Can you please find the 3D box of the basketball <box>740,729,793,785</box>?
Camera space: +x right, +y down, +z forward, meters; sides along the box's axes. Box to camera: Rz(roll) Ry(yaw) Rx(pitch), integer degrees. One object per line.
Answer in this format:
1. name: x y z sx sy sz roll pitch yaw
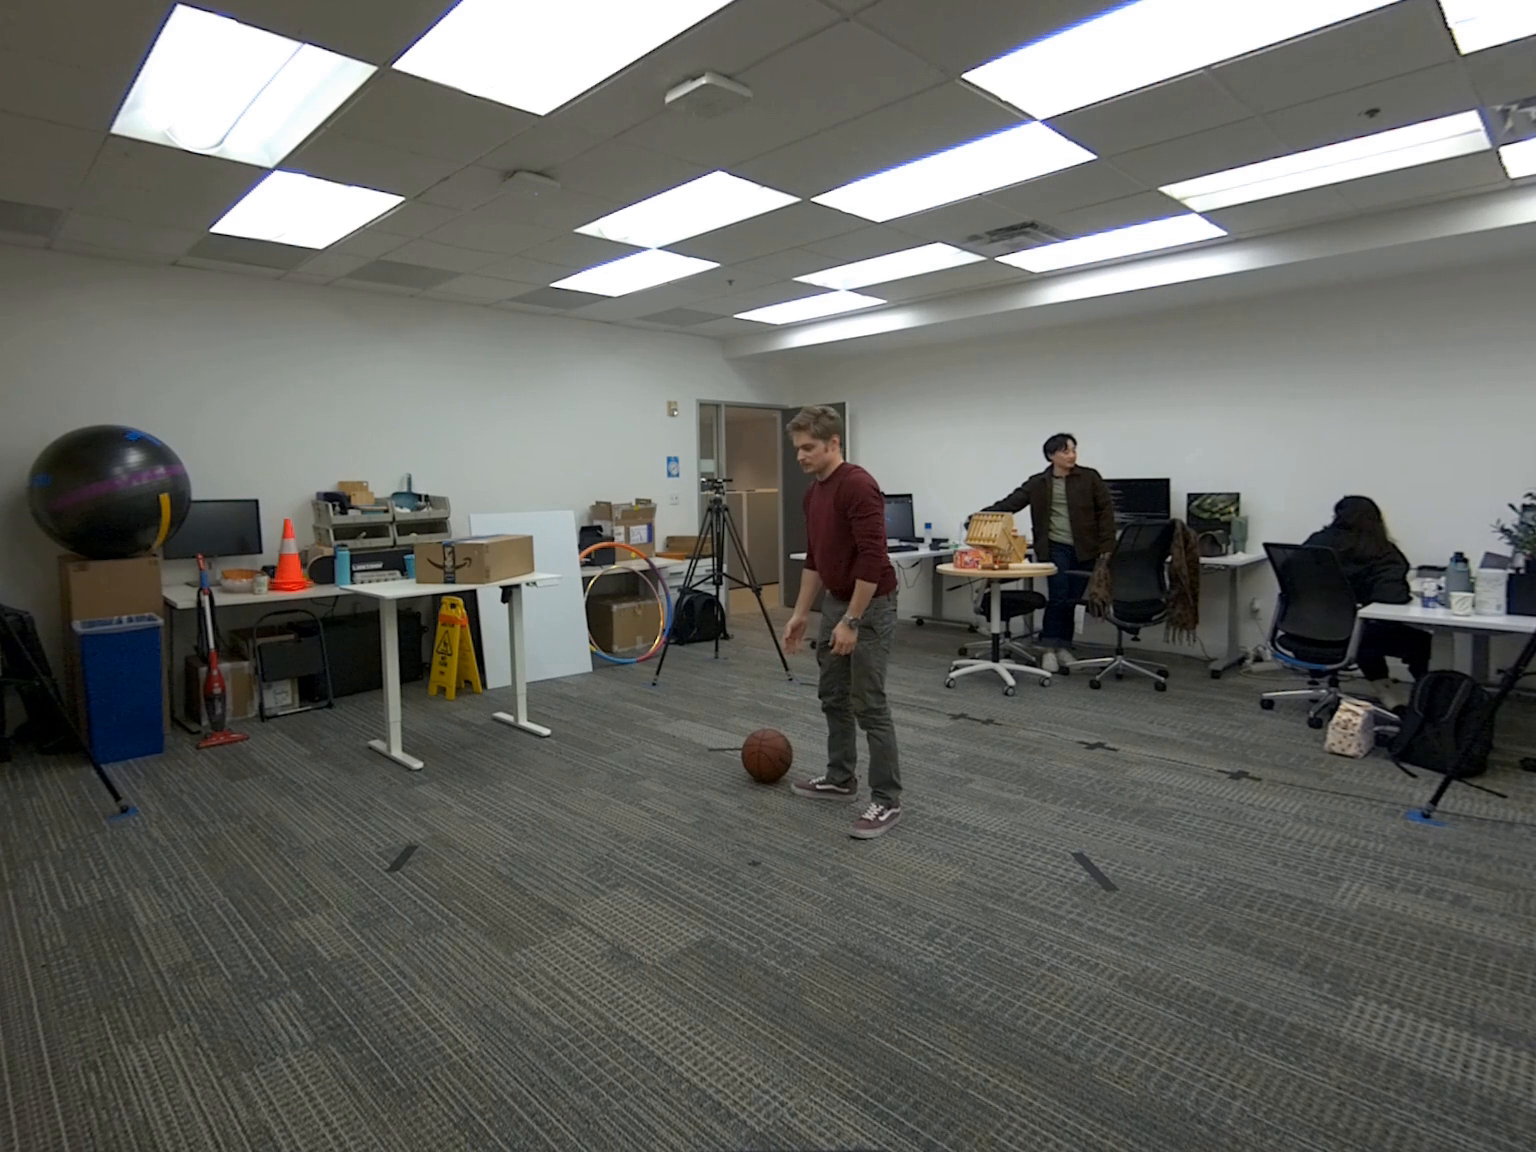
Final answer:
1. basketball: -0.007 0.829 3.964 0.236 0.235 0.237 -1 5 -2
